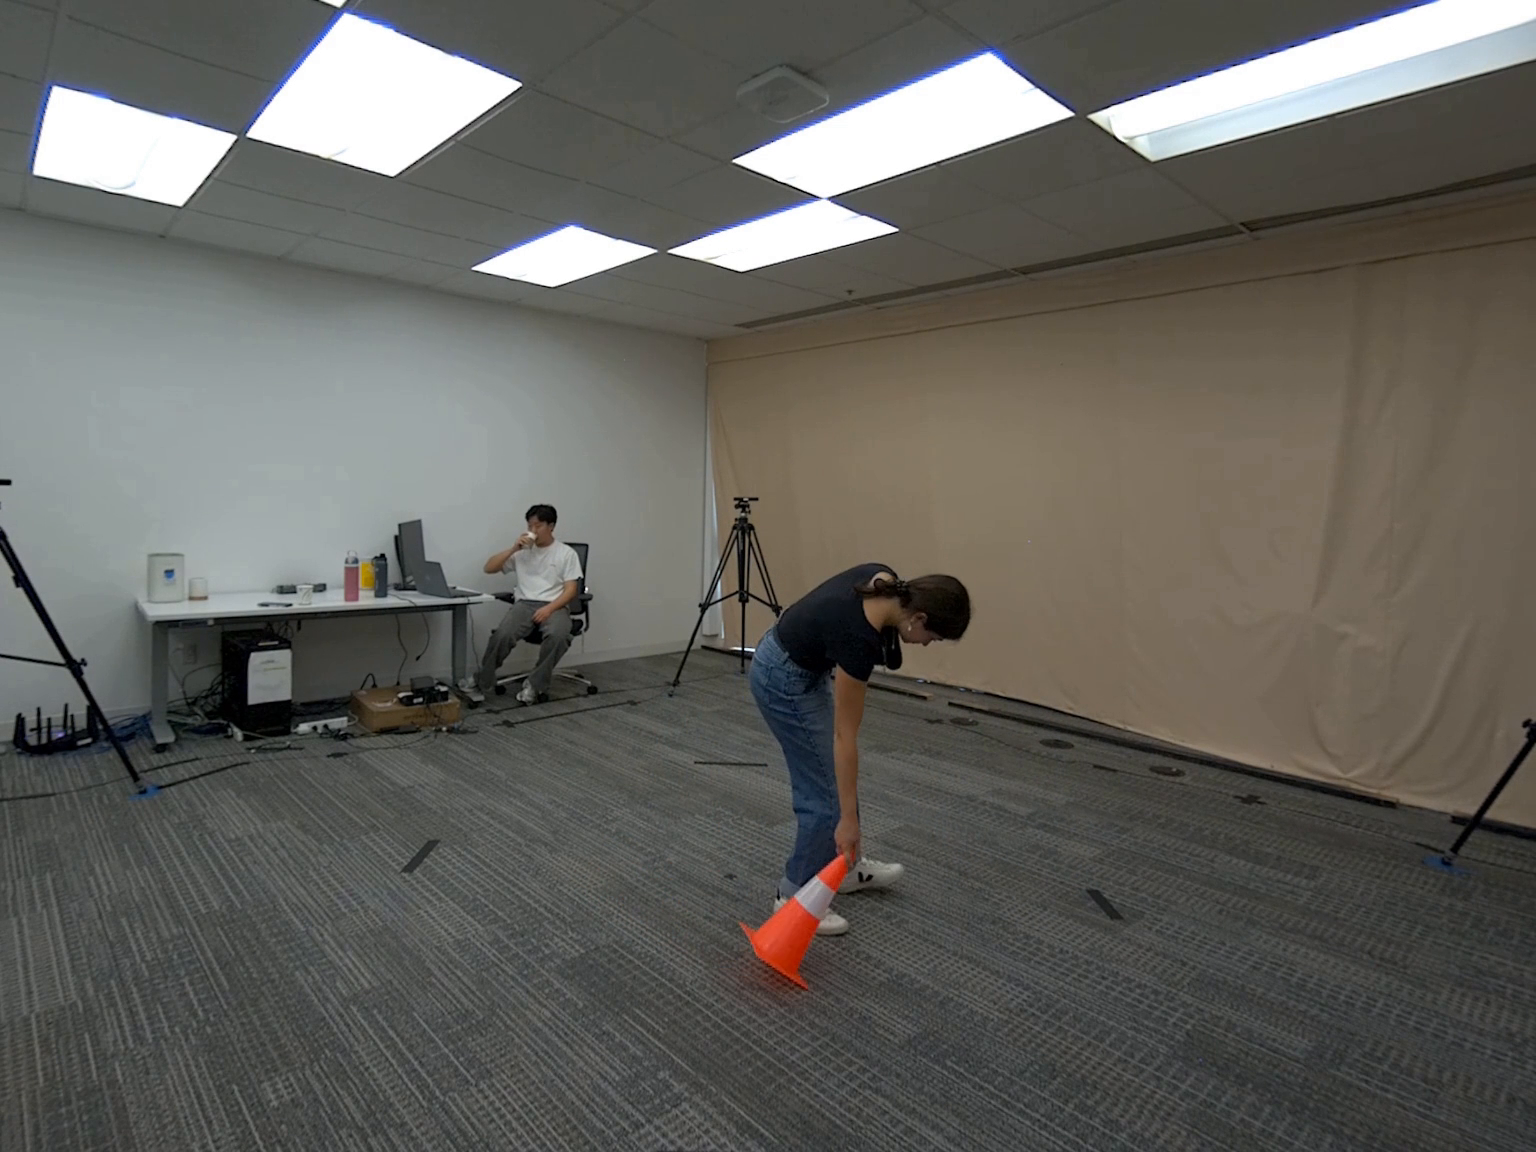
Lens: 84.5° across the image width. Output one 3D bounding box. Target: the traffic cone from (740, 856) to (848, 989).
[{"bbox_3d":[0.121,0.967,2.479,0.203,0.384,0.205,39,-5,-11],"label":"traffic cone"}]
